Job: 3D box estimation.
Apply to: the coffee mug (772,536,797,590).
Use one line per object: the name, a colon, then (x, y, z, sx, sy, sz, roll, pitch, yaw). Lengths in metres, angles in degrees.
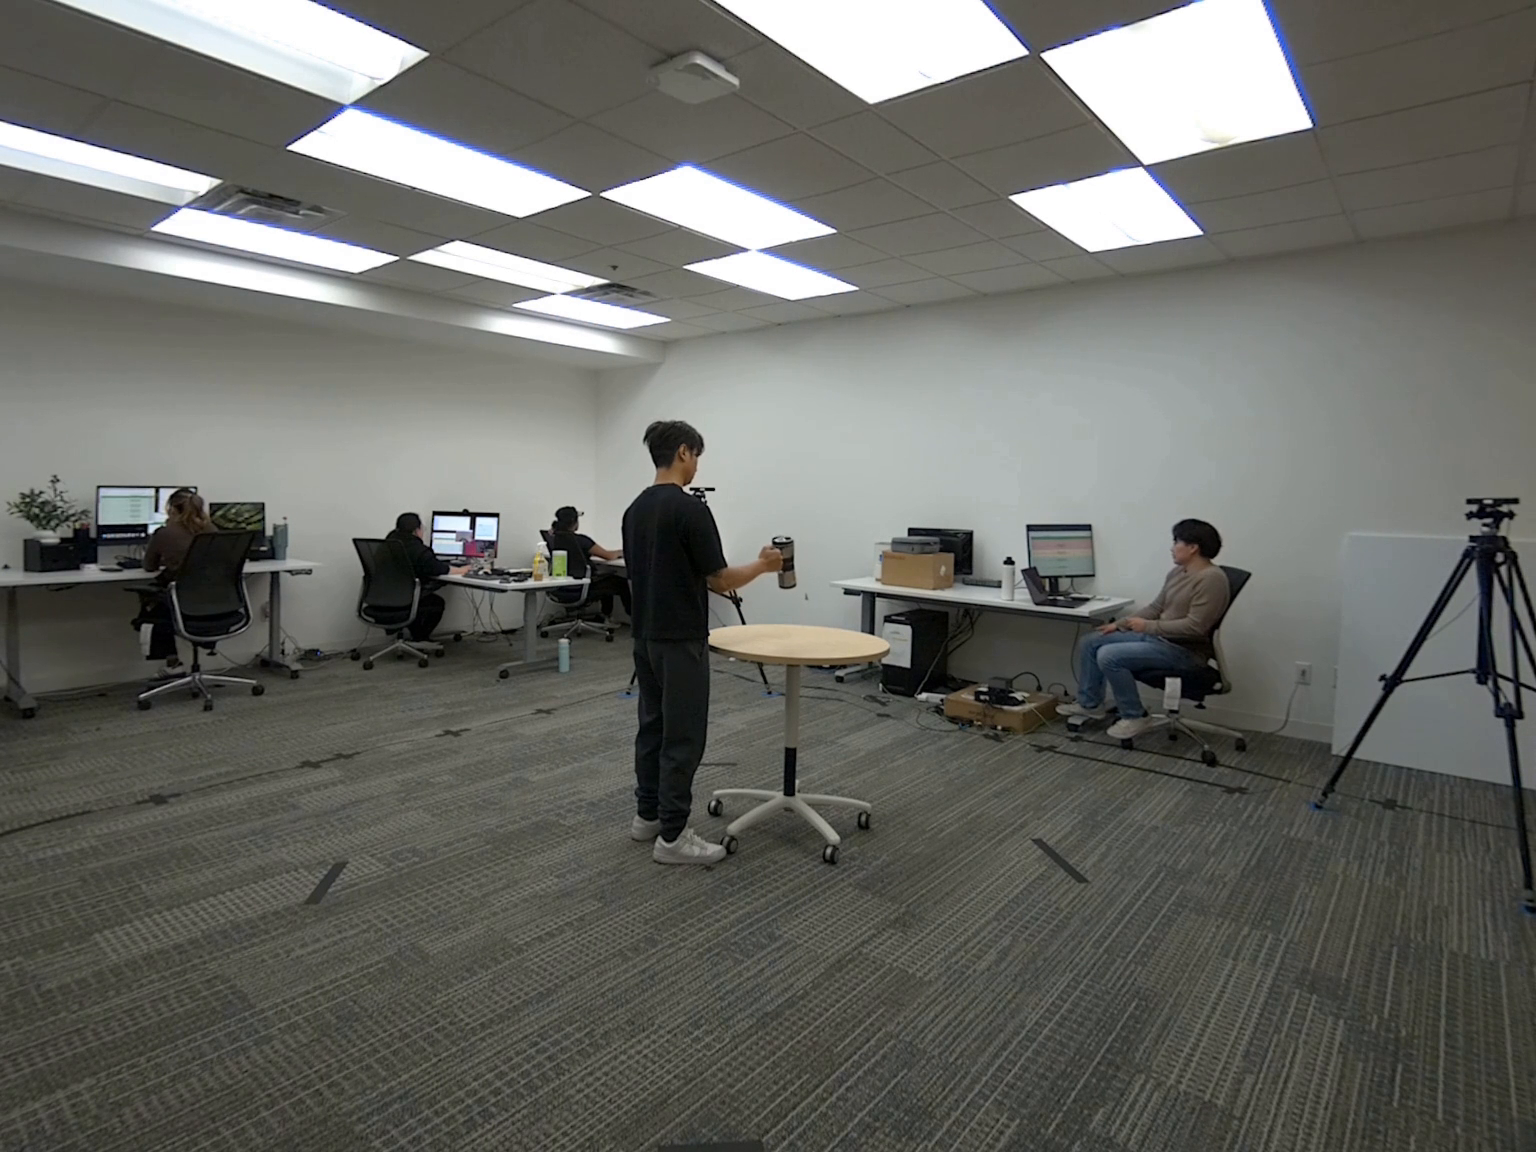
coffee mug: (0.036, -0.049, 3.389, 0.119, 0.200, 0.091, -12, 18, -29)
